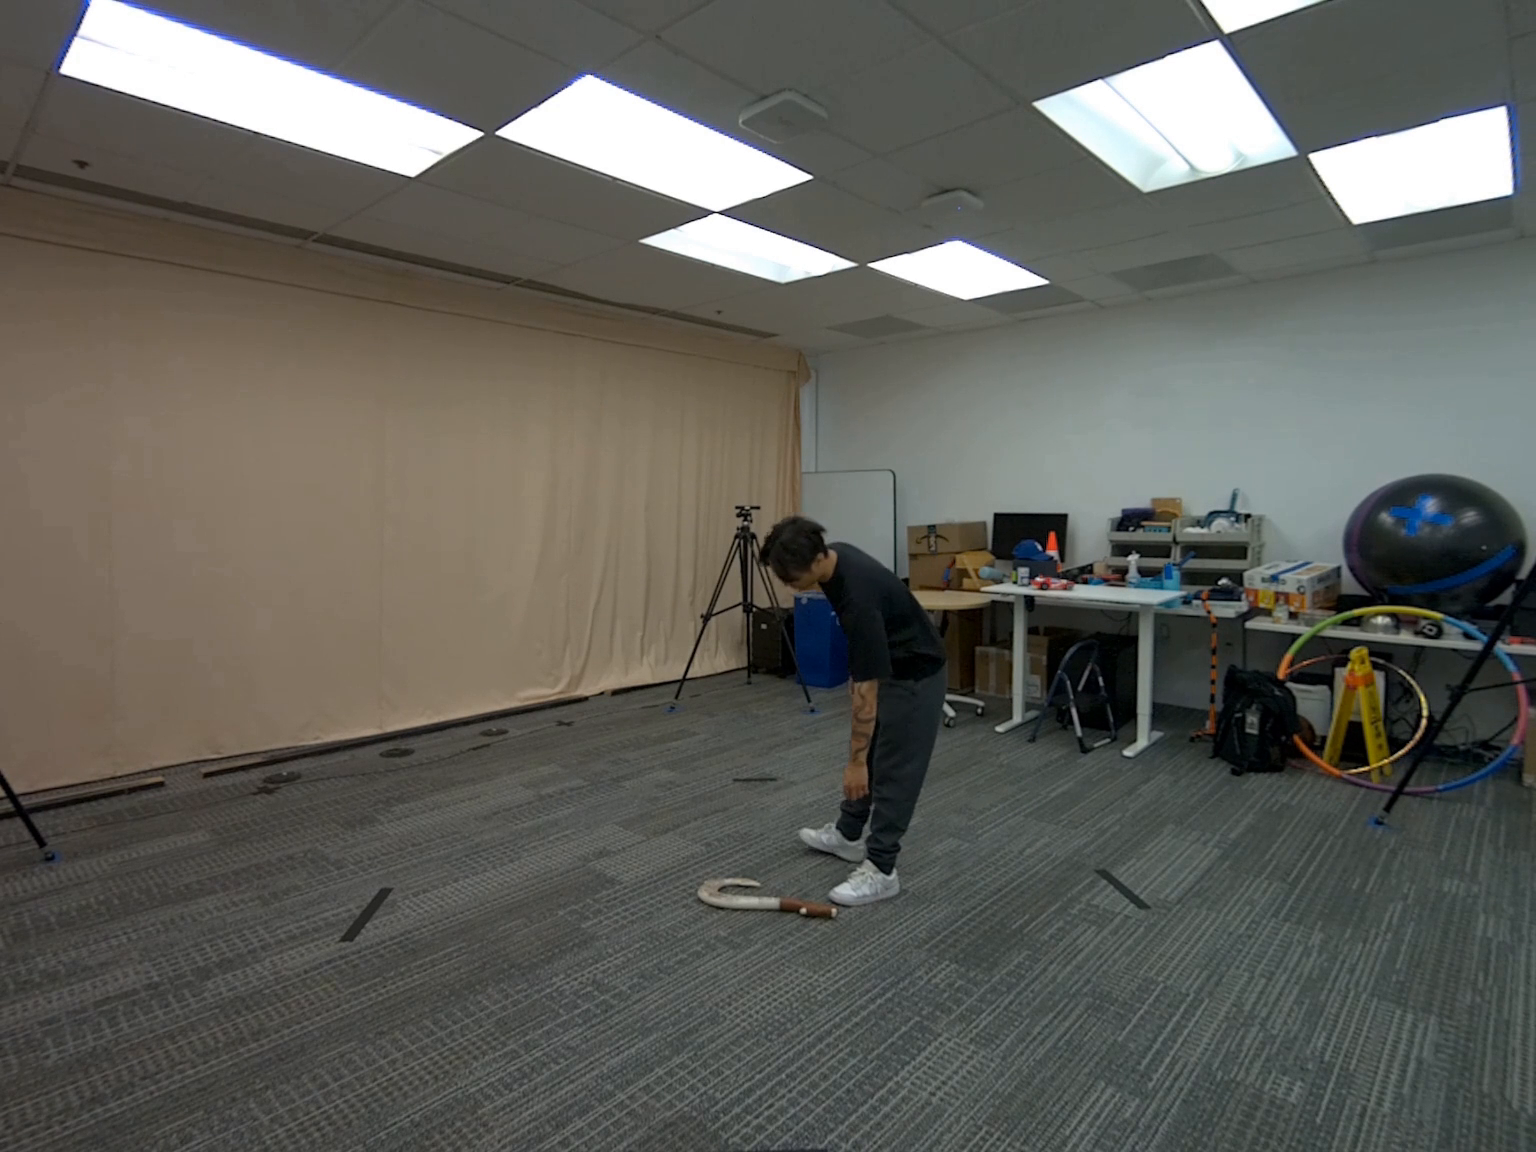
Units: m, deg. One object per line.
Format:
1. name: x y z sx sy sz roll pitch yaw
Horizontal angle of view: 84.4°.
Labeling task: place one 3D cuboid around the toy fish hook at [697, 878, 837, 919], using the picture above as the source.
1. toy fish hook: 0.006 1.125 2.961 0.516 0.048 0.221 1 7 17
